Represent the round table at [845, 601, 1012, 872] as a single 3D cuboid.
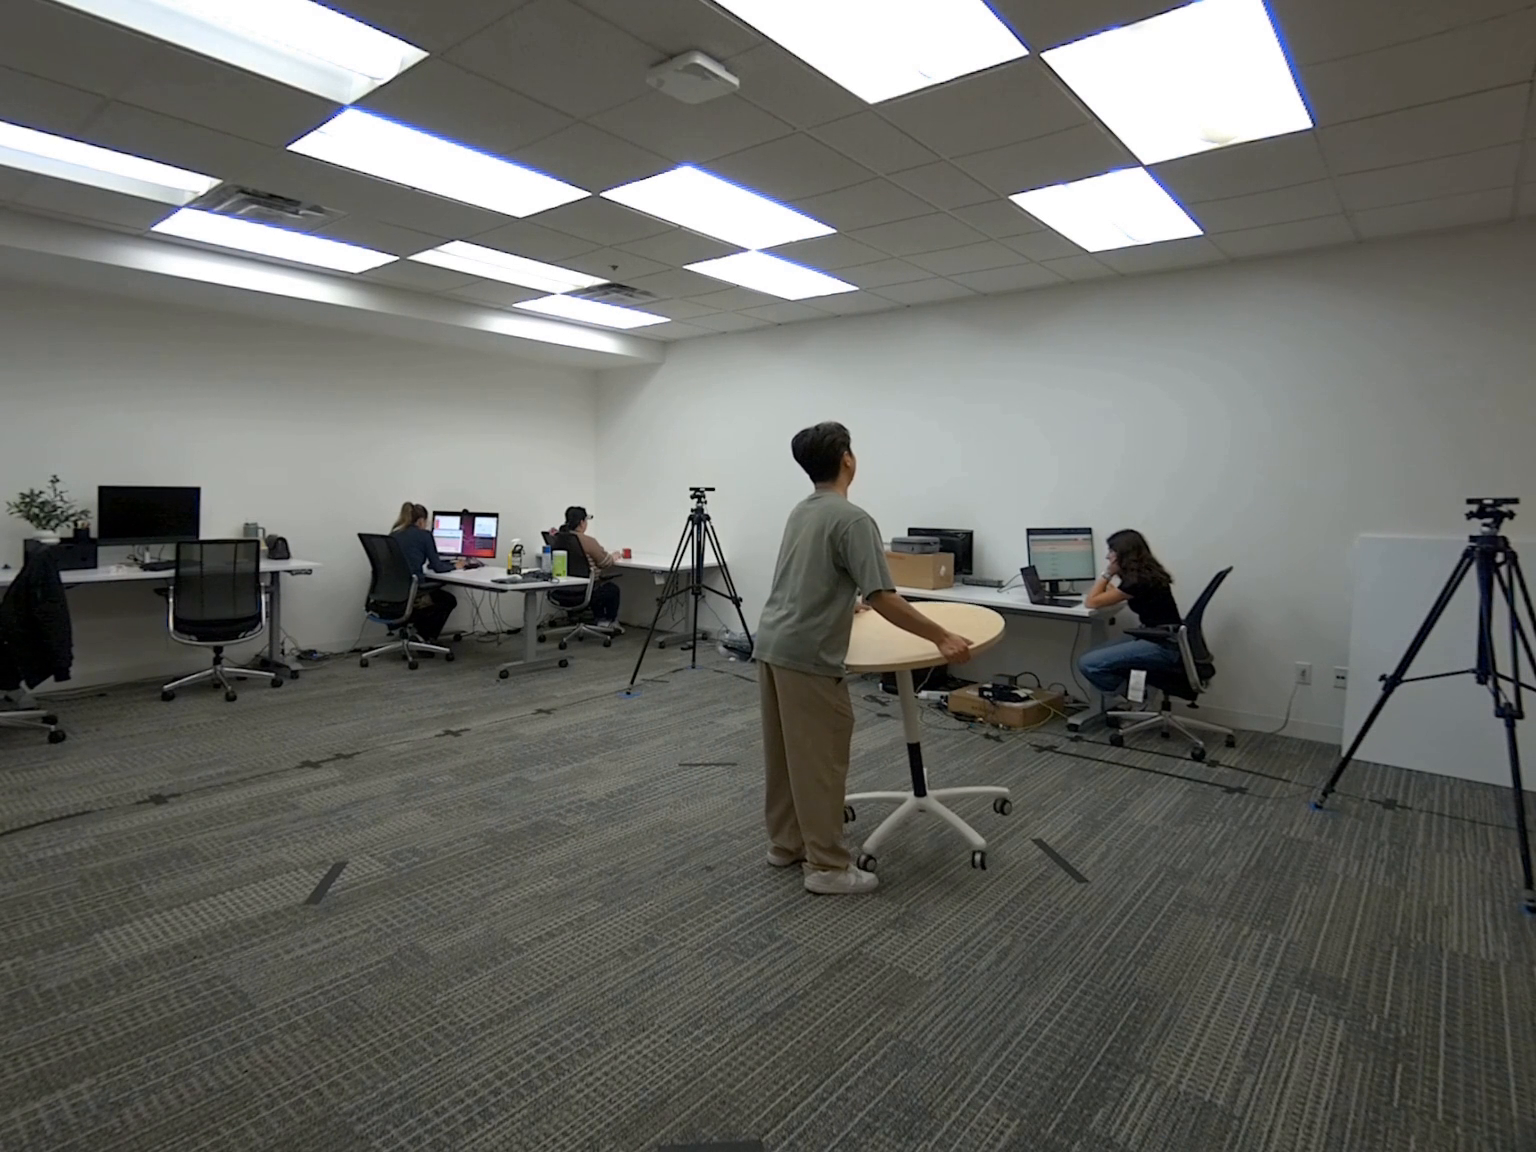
[{"bbox_3d":[0.545,0.594,3.233,0.785,0.779,0.793,-10,10,0],"label":"round table"}]
